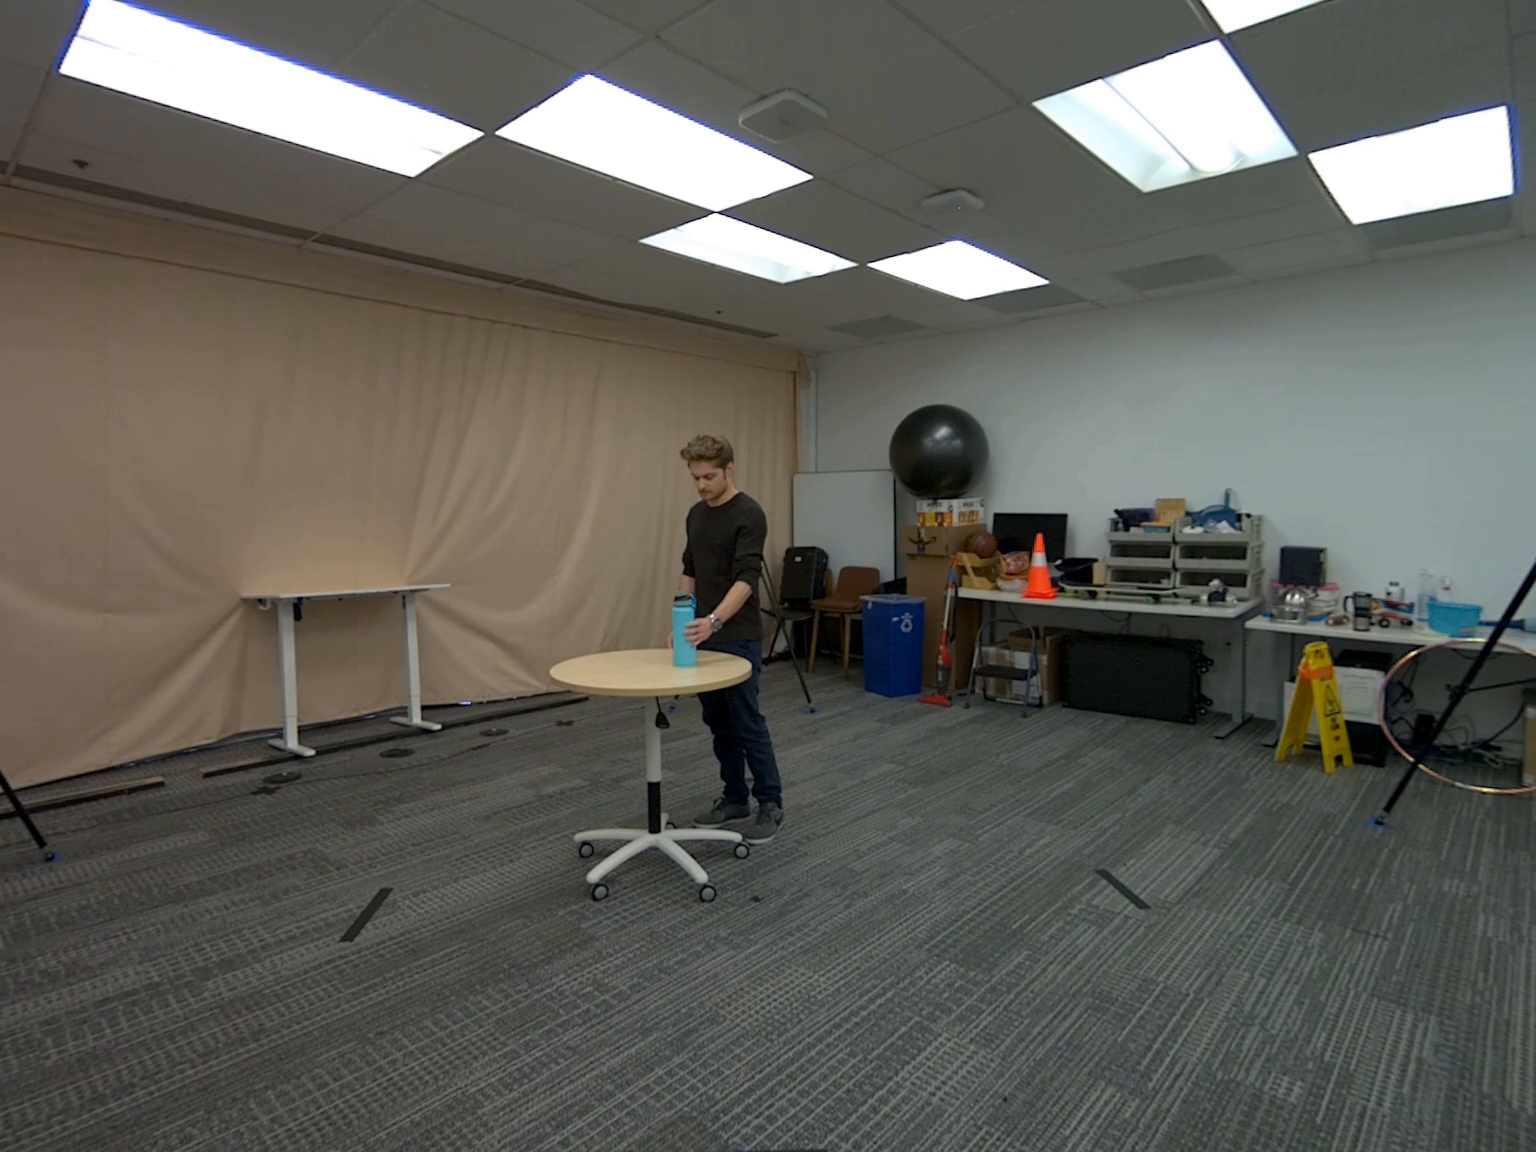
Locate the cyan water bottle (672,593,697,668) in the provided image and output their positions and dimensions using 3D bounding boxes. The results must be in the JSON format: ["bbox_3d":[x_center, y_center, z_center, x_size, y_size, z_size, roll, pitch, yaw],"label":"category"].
[{"bbox_3d":[-0.323,0.202,3.232,0.092,0.283,0.092,2,1,-2],"label":"cyan water bottle"}]
